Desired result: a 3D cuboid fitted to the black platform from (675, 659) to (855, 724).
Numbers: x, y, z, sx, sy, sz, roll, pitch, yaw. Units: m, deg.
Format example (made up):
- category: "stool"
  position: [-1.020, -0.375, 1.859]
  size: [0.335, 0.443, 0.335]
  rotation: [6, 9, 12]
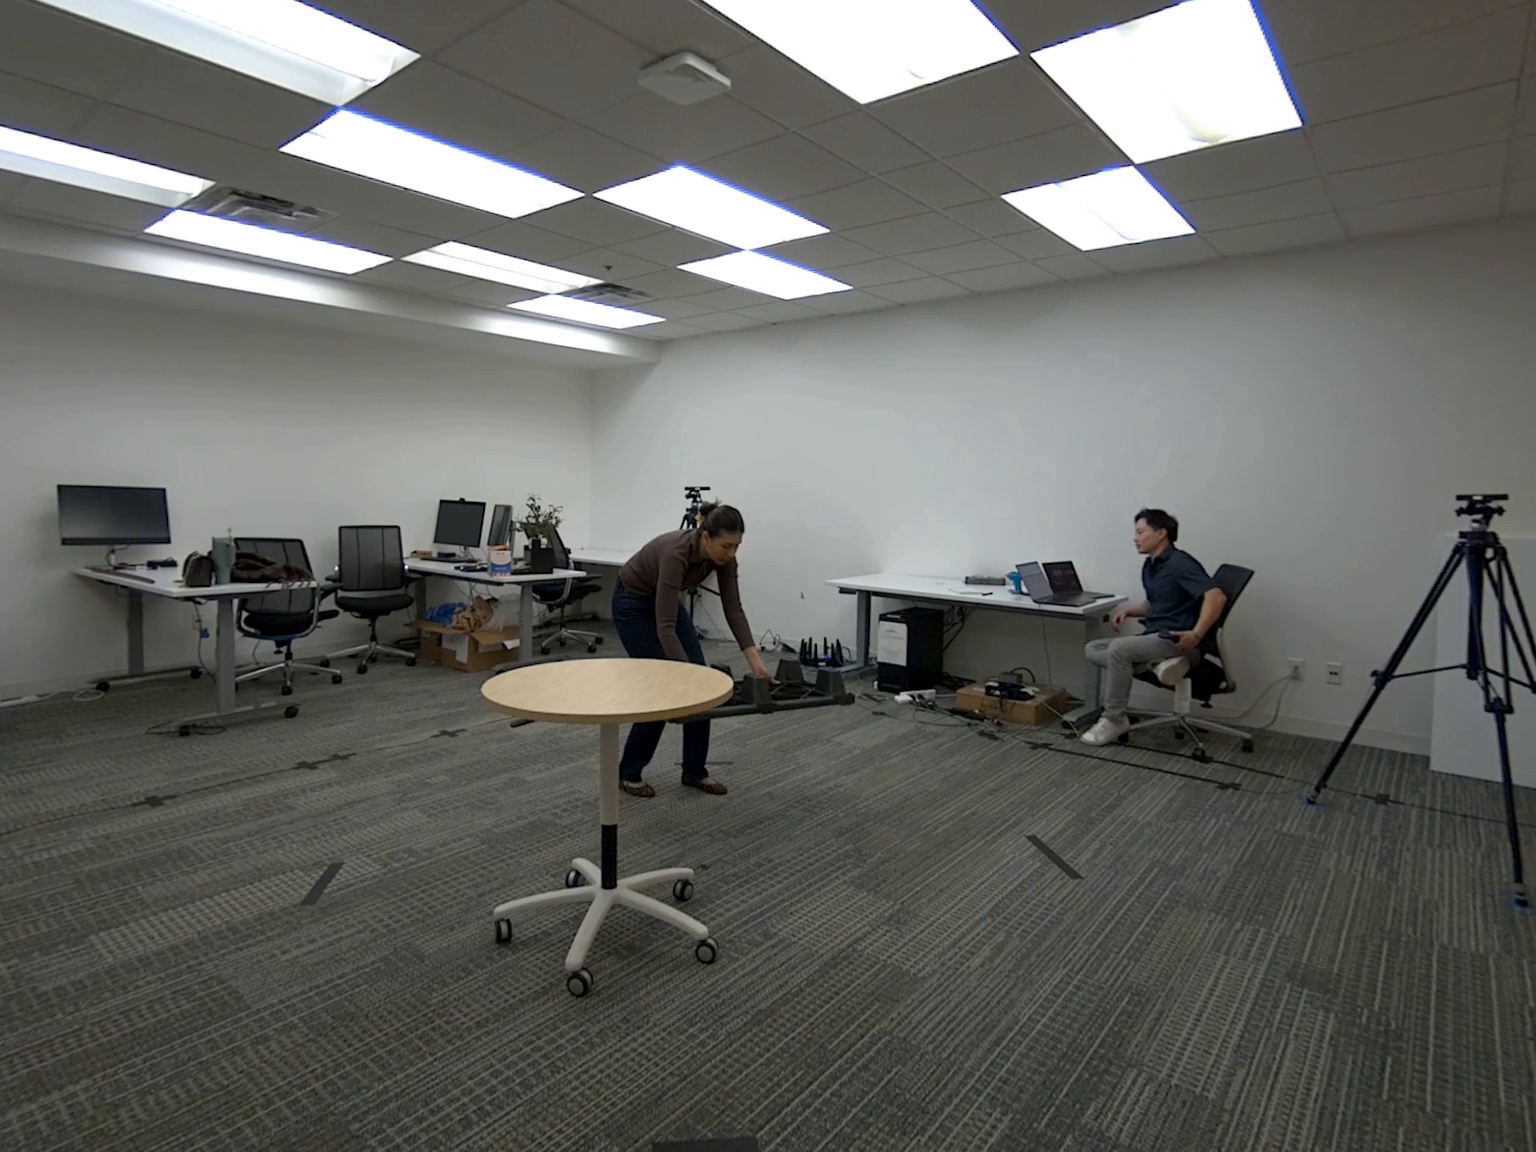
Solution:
- category: "black platform"
  position: [-0.133, 0.462, 3.583]
  size: [0.788, 0.143, 0.618]
  rotation: [-3, 2, -23]
